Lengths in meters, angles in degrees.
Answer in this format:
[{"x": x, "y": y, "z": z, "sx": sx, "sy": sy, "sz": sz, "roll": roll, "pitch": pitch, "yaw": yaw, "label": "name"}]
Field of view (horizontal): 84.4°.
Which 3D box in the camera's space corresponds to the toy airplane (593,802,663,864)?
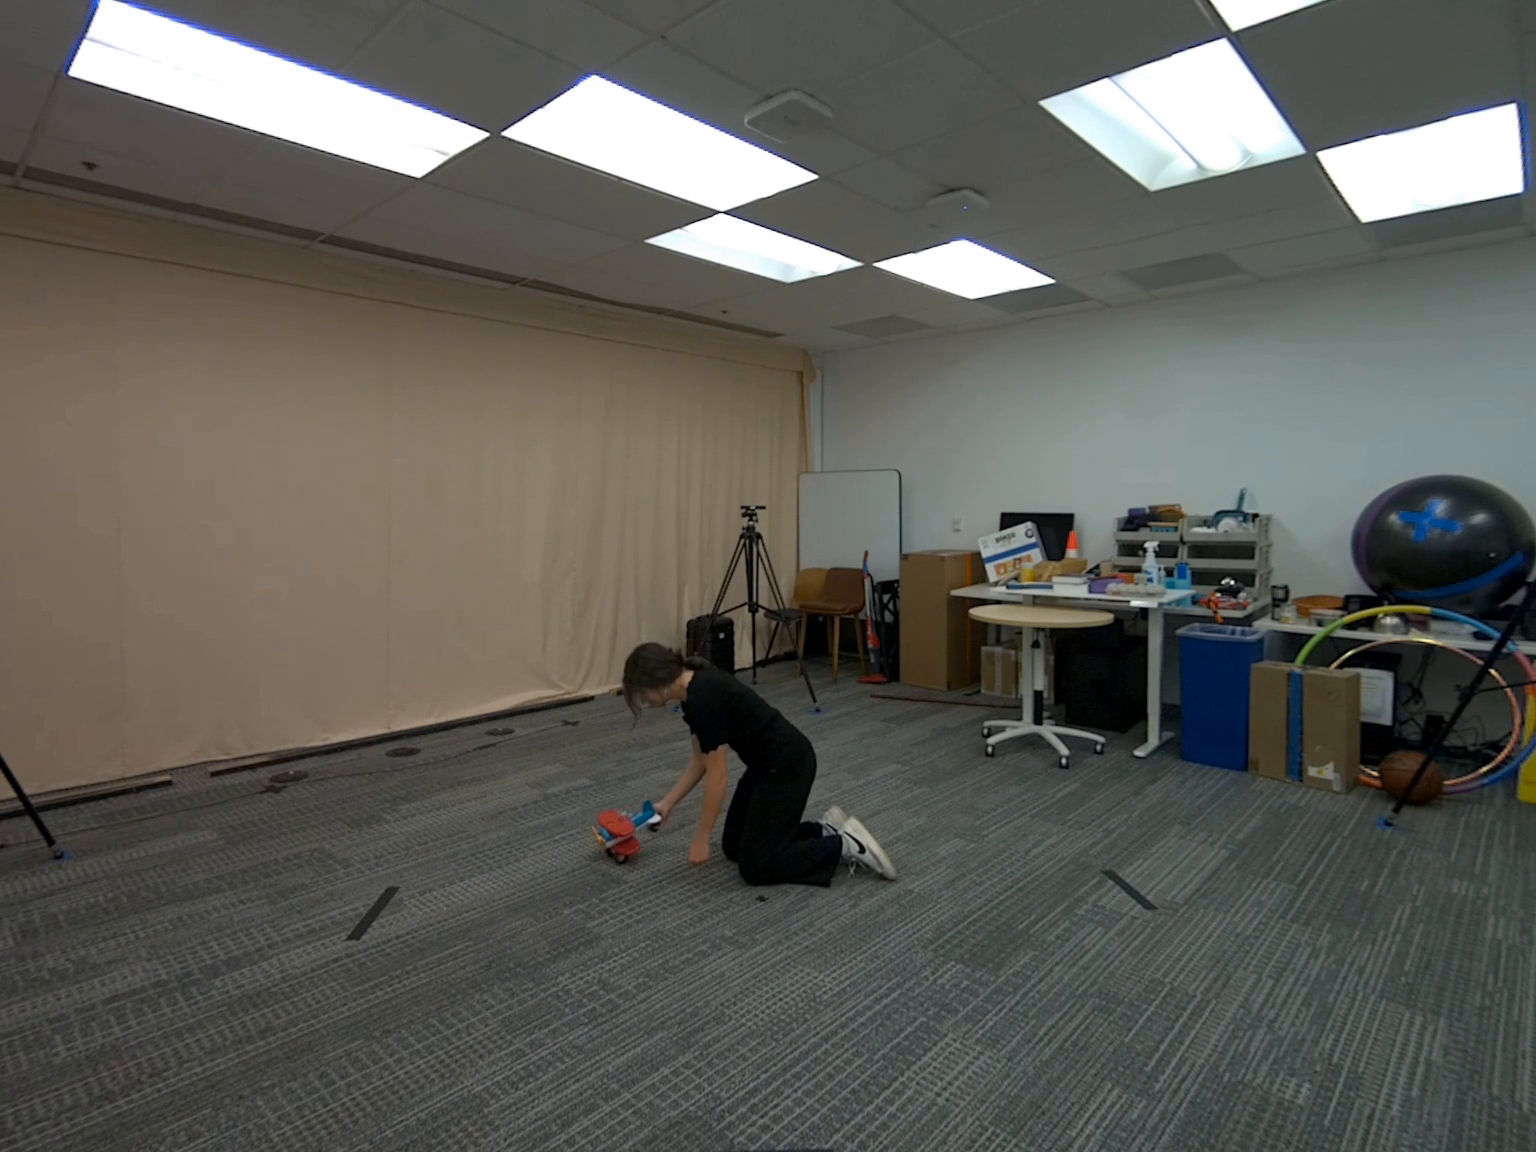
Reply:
[{"x": -0.566, "y": 1.012, "z": 3.366, "sx": 0.257, "sy": 0.153, "sz": 0.258, "roll": -13, "pitch": 24, "yaw": 31, "label": "toy airplane"}]
